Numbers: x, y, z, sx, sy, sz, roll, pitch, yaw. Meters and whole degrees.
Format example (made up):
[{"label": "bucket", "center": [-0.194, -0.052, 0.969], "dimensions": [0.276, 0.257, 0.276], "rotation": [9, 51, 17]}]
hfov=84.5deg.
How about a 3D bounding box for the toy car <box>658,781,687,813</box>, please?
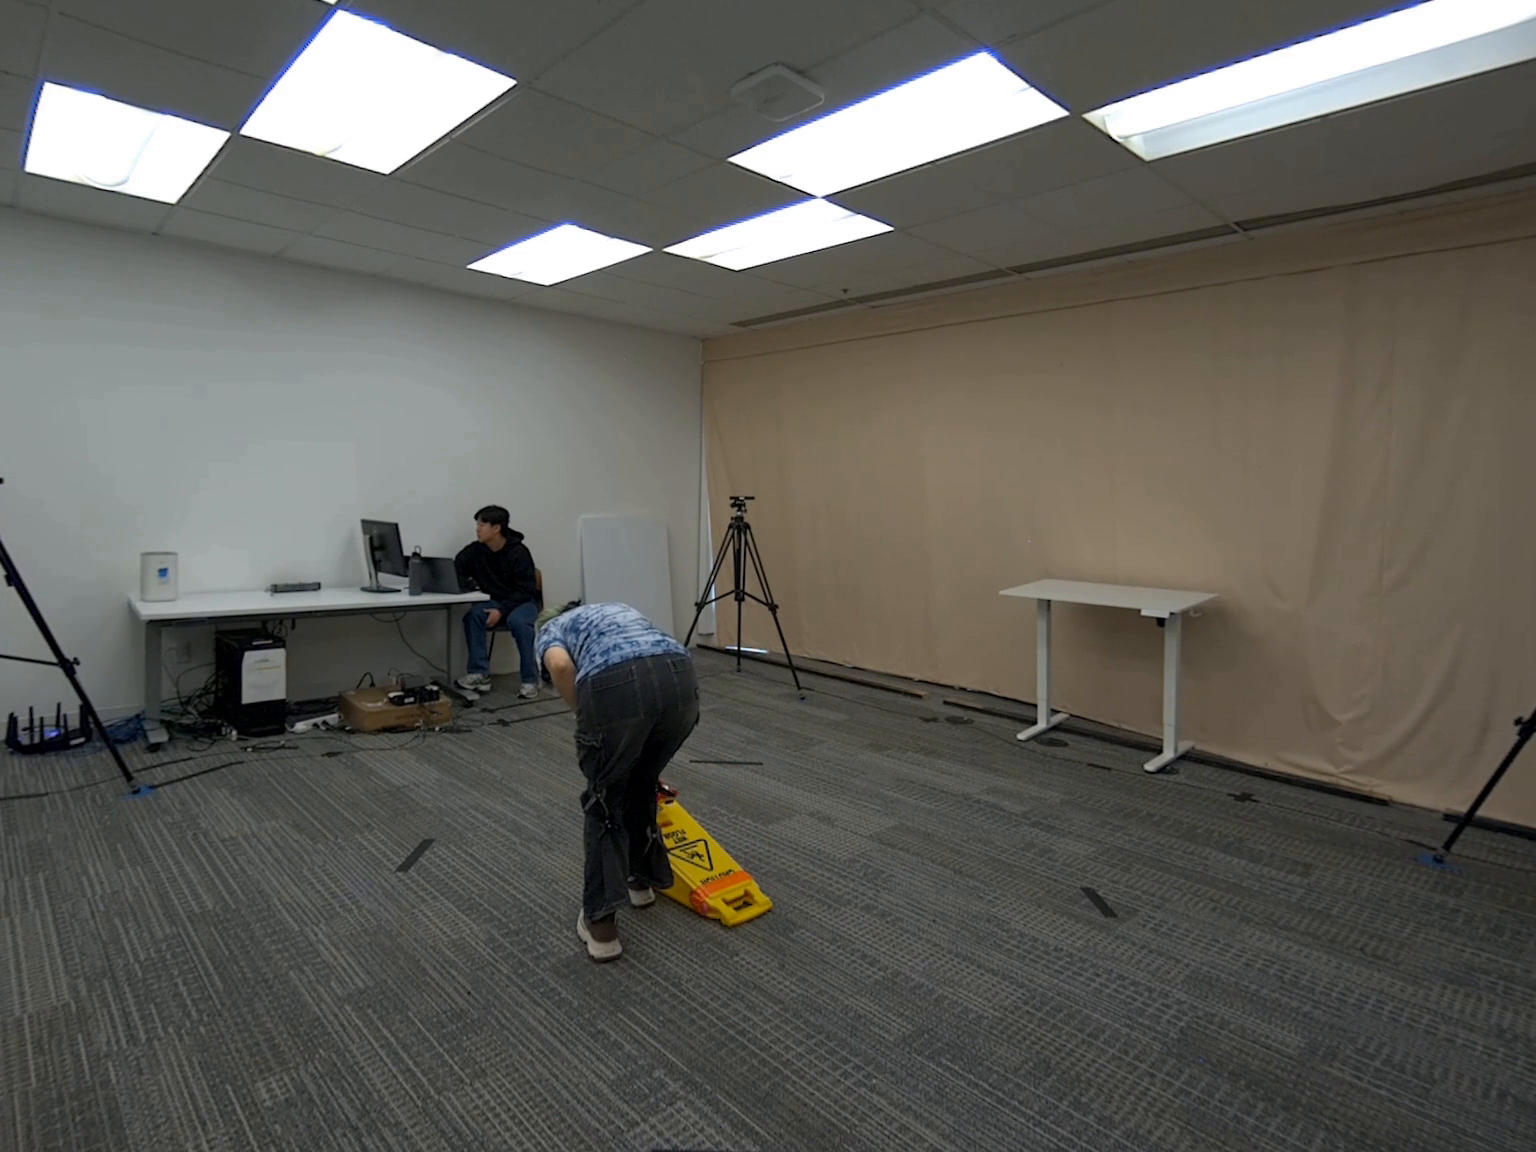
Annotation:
[{"label": "toy car", "center": [-0.448, 0.847, 3.178], "dimensions": [0.257, 0.084, 0.127], "rotation": [-28, -20, 39]}]
